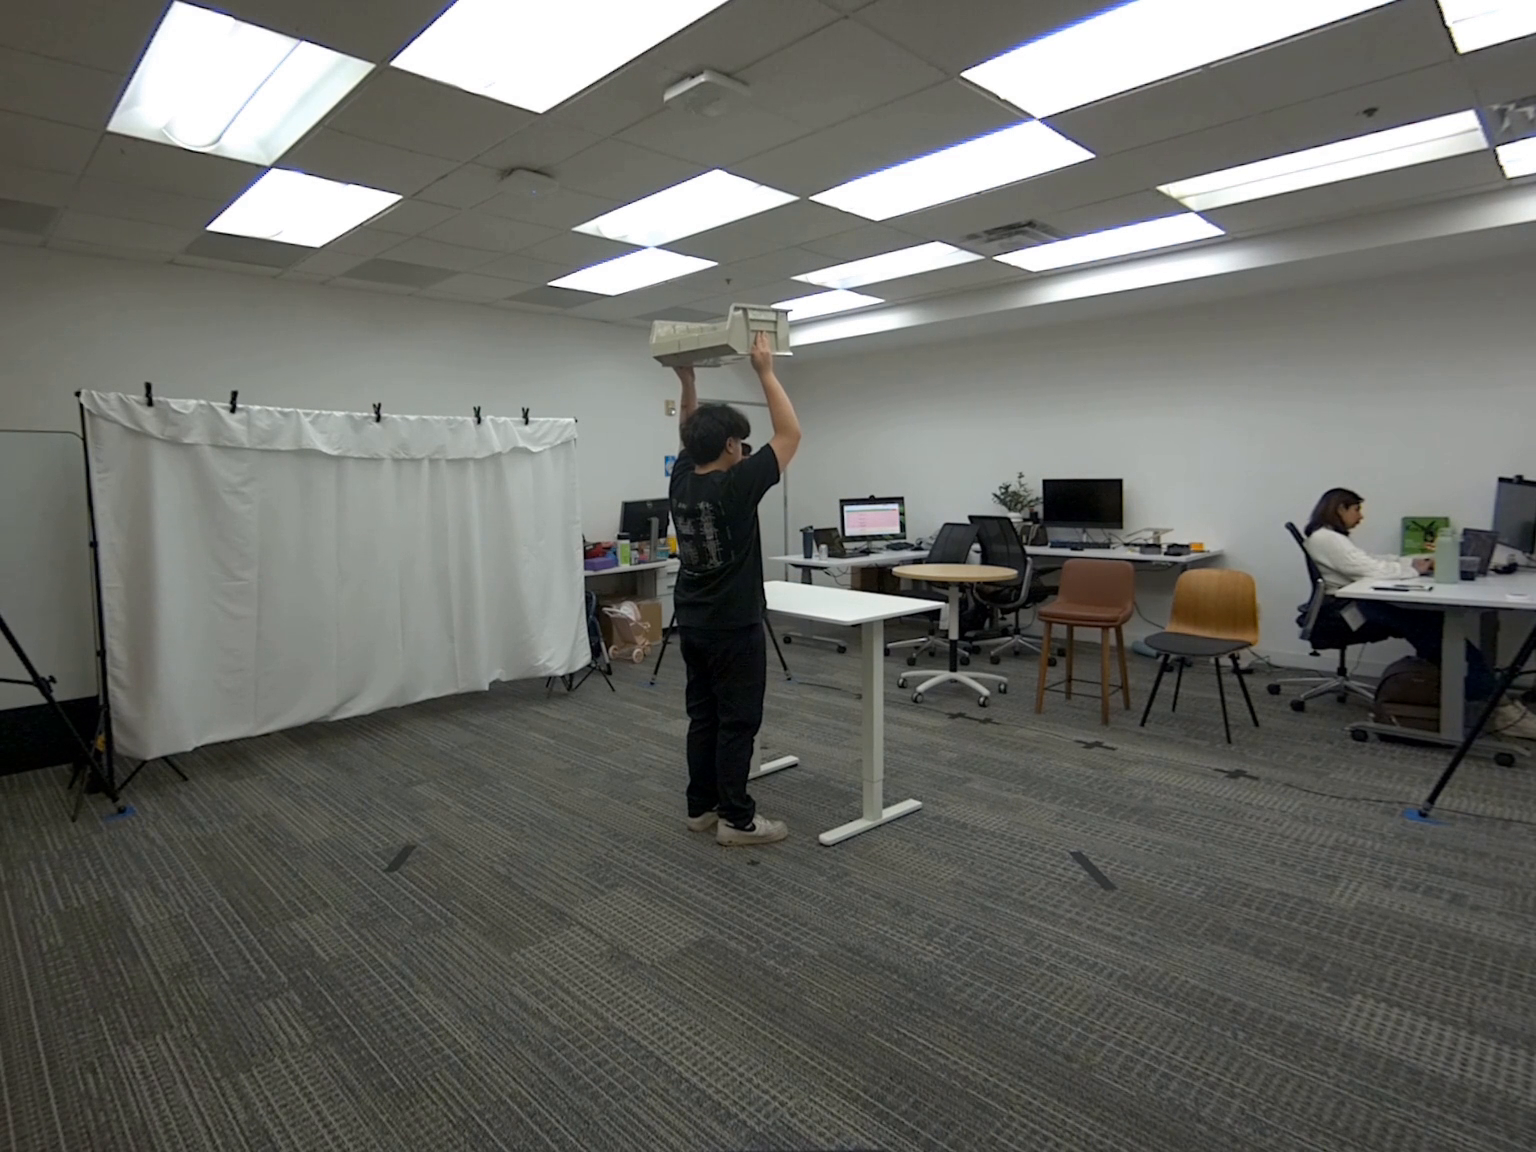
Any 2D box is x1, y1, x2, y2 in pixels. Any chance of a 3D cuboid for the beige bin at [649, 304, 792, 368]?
[{"bbox_3d":[-0.177,-0.916,3.288,0.435,0.187,0.369,3,11,42],"label":"beige bin"}]
